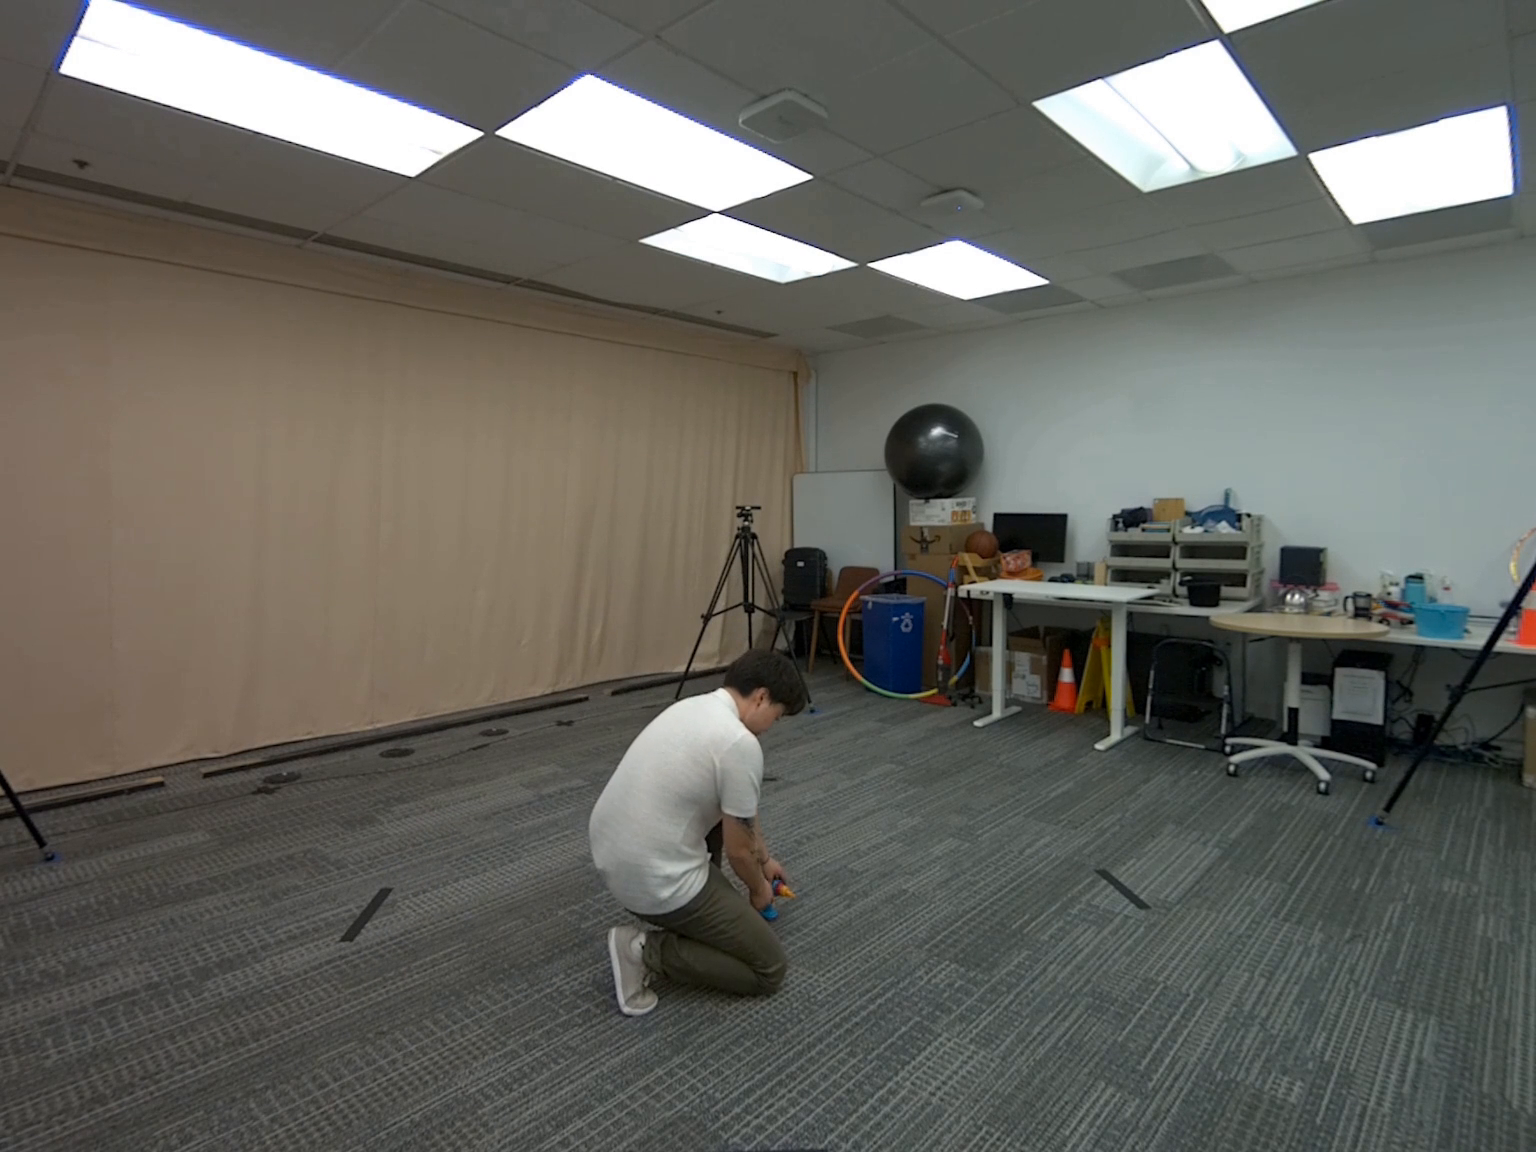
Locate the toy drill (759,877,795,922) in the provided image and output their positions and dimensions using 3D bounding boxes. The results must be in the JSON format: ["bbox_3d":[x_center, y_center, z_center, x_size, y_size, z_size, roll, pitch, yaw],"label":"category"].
[{"bbox_3d":[0.032,1.086,2.813,0.175,0.145,0.059,5,7,41],"label":"toy drill"}]
